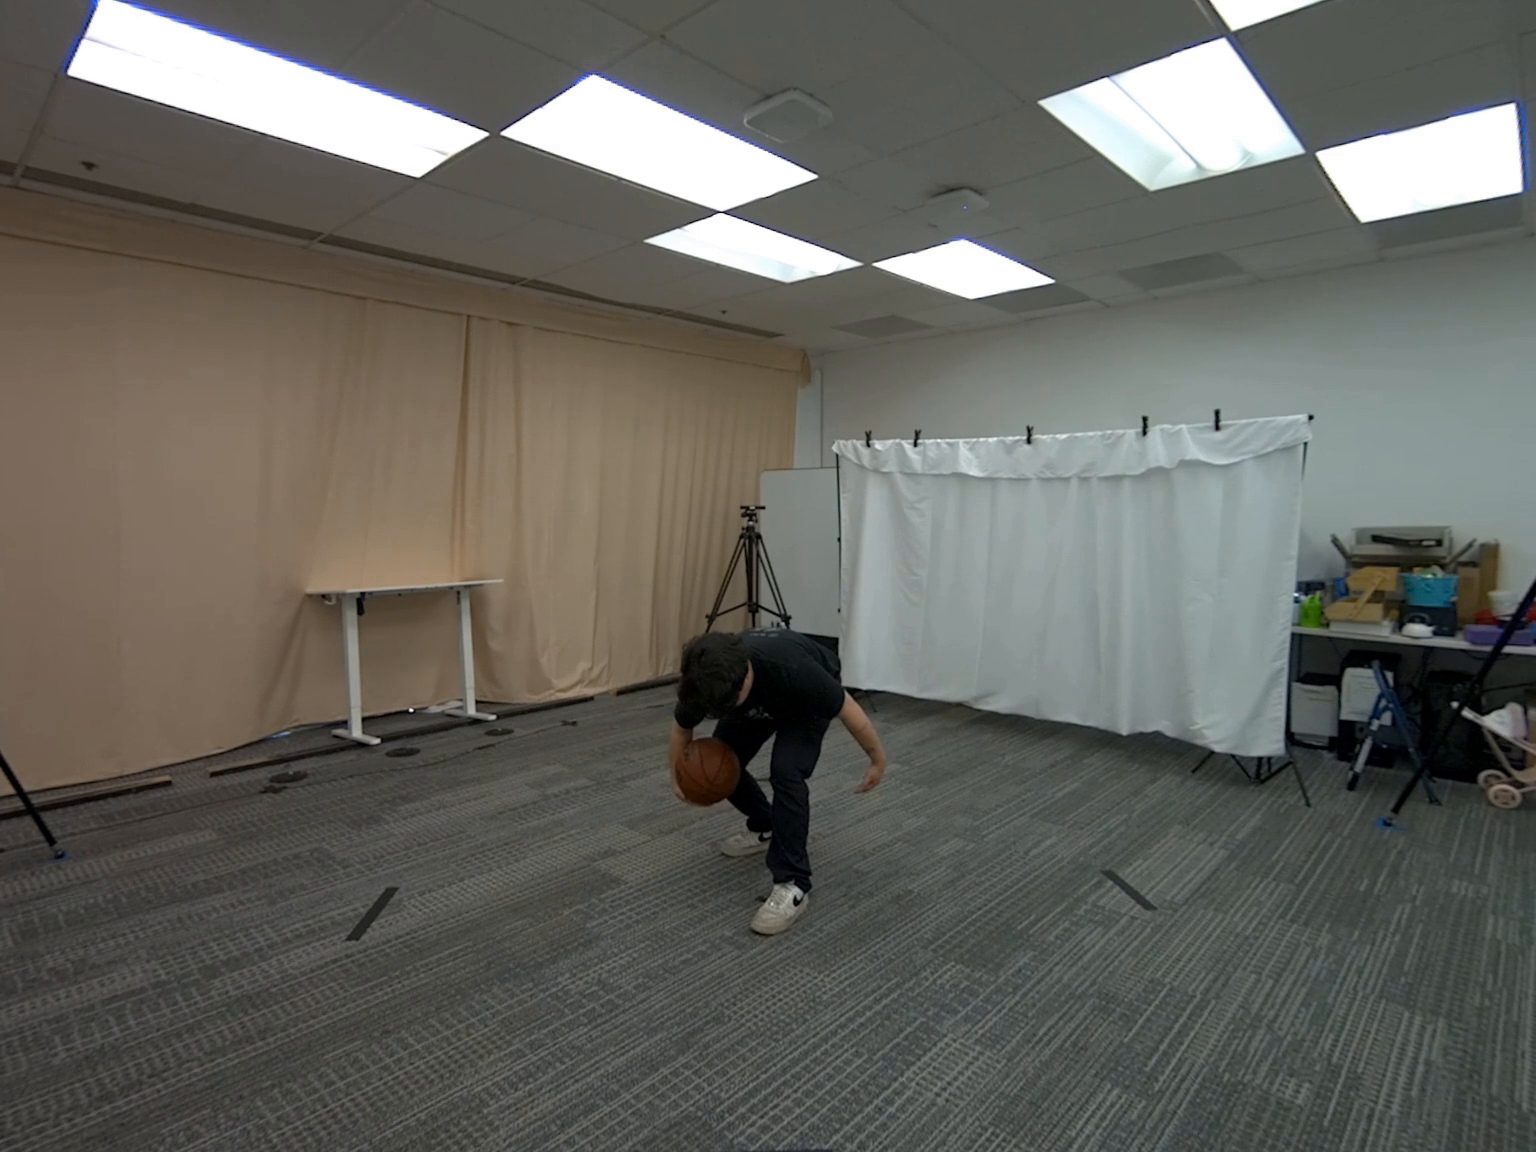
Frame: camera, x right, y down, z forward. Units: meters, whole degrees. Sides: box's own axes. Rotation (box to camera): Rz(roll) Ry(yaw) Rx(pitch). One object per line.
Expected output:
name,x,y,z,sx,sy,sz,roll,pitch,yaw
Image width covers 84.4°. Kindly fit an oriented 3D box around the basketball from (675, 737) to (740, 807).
basketball,-0.211,0.711,3.081,0.236,0.235,0.237,0,4,-2
